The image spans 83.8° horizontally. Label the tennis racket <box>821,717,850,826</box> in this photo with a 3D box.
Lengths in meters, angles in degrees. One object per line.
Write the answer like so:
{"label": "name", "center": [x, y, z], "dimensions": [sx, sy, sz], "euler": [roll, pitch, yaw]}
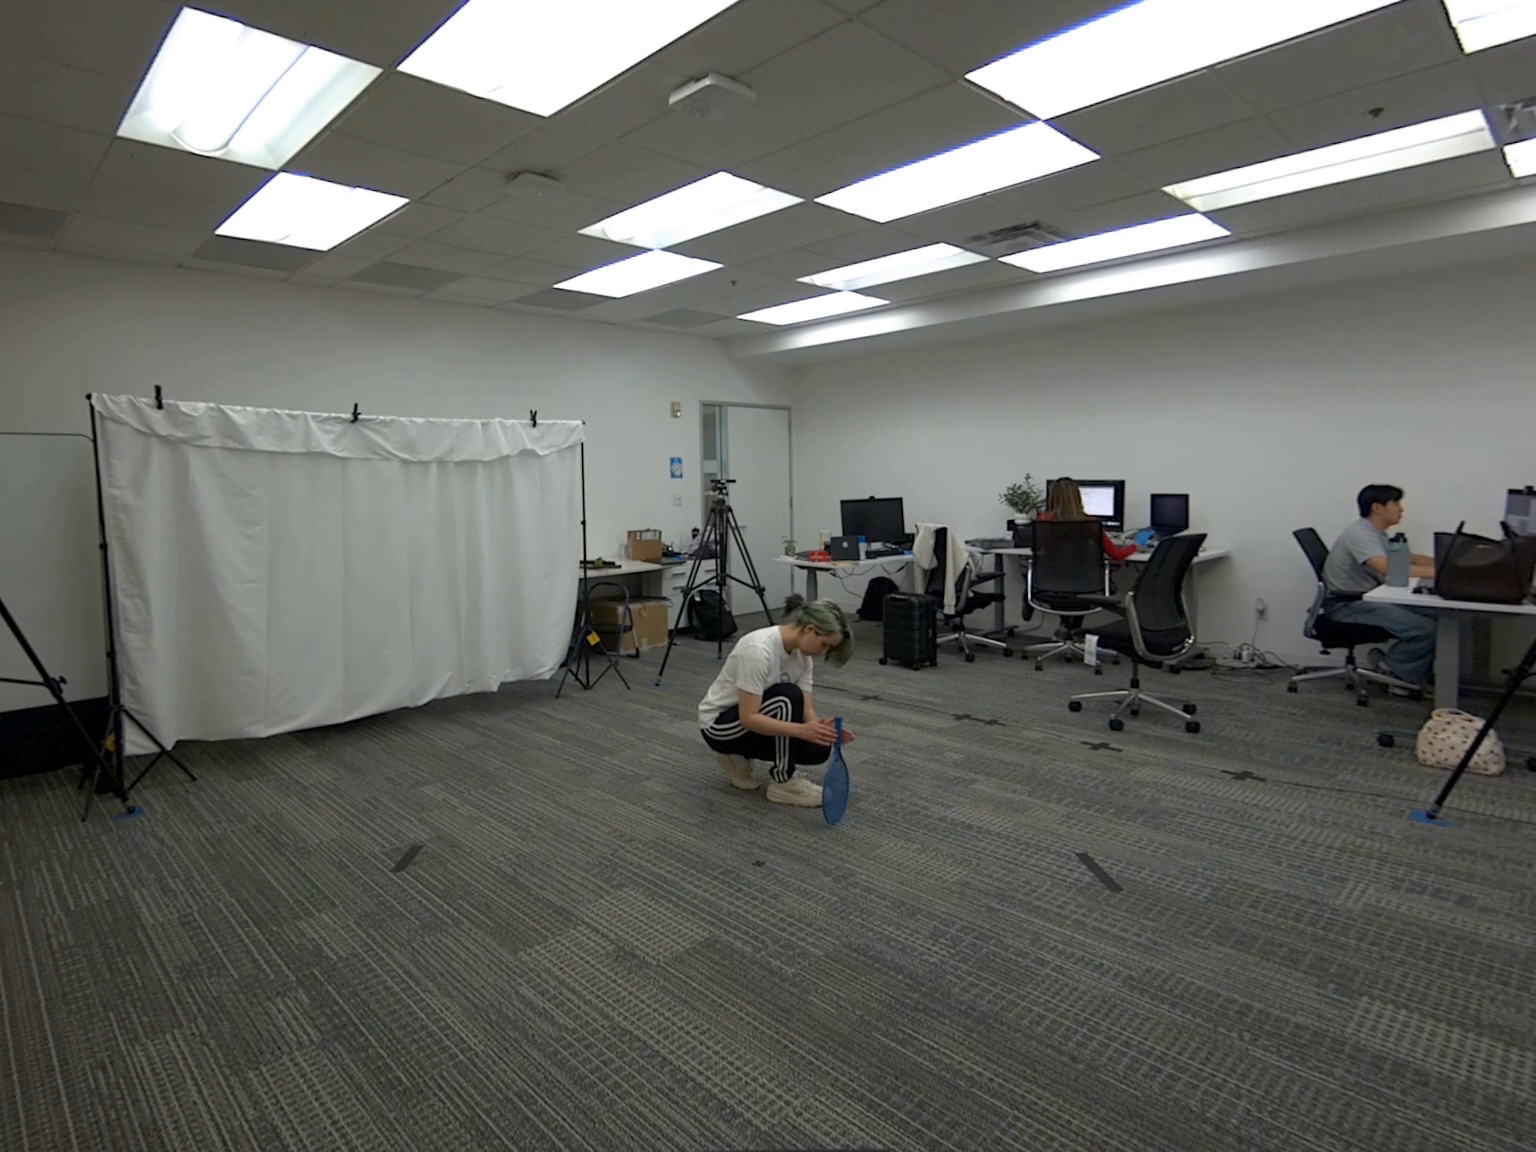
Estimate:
{"label": "tennis racket", "center": [0.282, 0.789, 3.457], "dimensions": [0.032, 0.434, 0.208], "euler": [-2, -3, 28]}
